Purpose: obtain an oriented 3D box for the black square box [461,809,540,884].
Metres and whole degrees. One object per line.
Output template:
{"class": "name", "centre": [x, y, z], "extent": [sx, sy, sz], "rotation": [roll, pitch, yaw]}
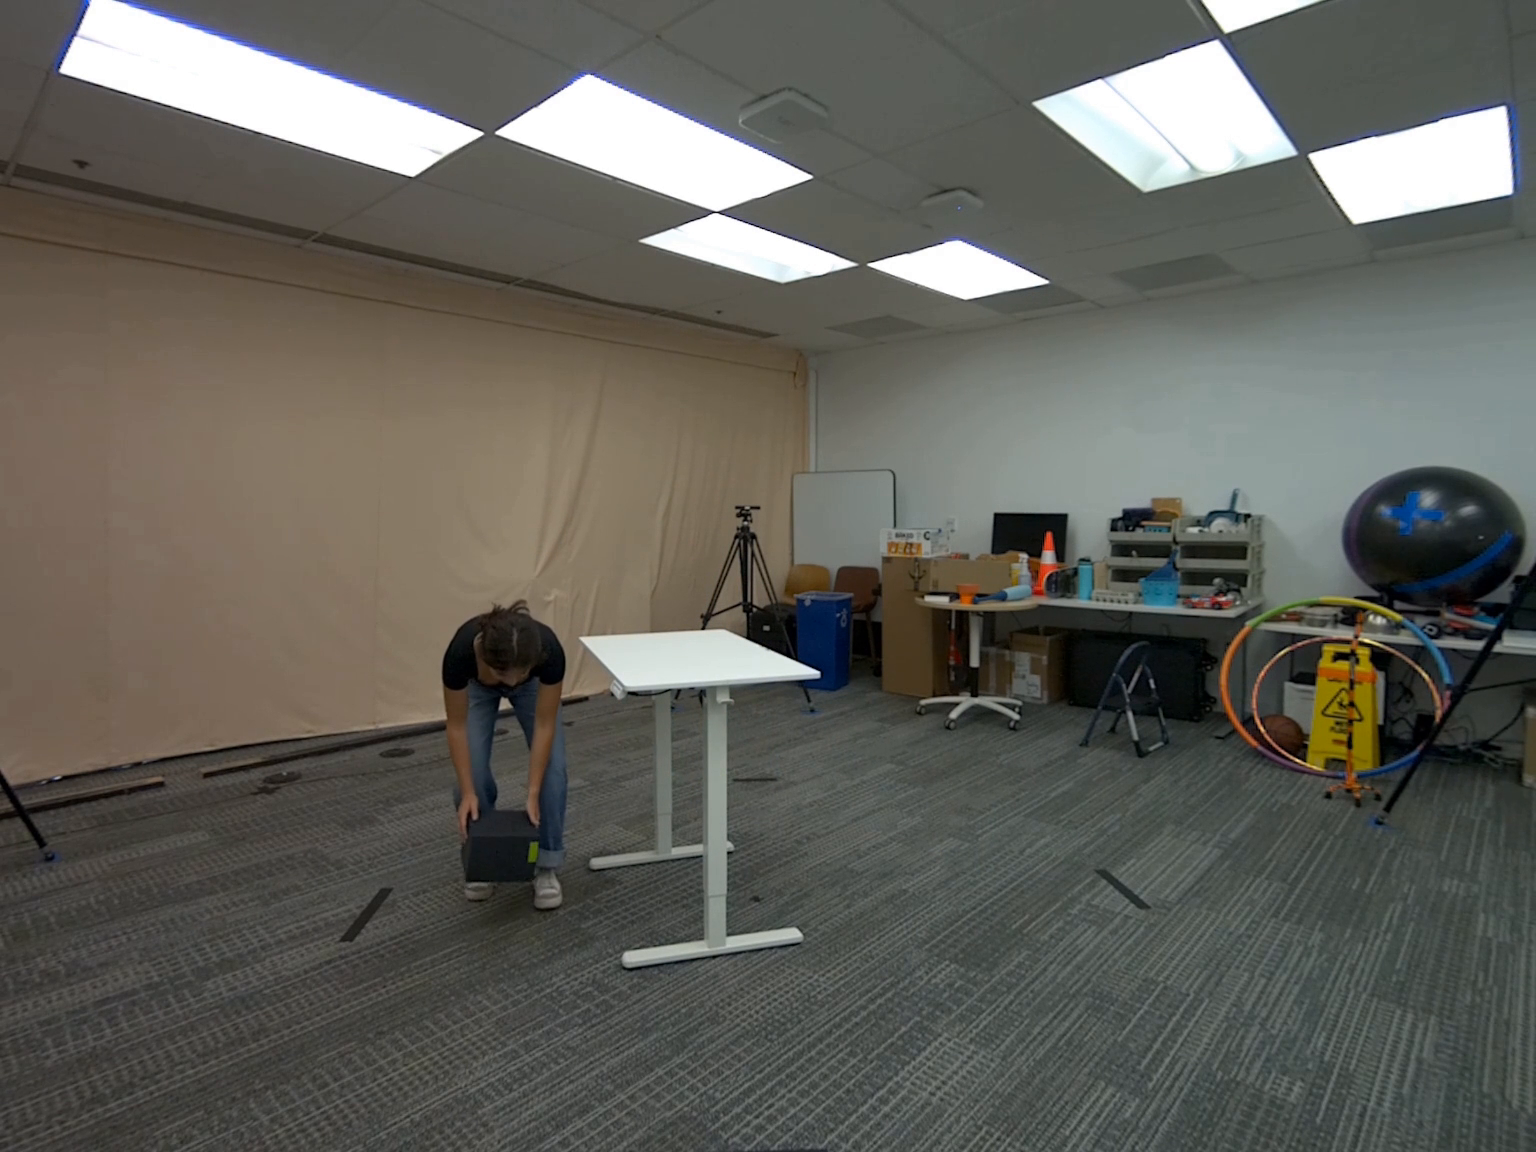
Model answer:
{"class": "black square box", "centre": [-0.899, 0.892, 2.802], "extent": [0.212, 0.156, 0.234], "rotation": [6, 3, -24]}
